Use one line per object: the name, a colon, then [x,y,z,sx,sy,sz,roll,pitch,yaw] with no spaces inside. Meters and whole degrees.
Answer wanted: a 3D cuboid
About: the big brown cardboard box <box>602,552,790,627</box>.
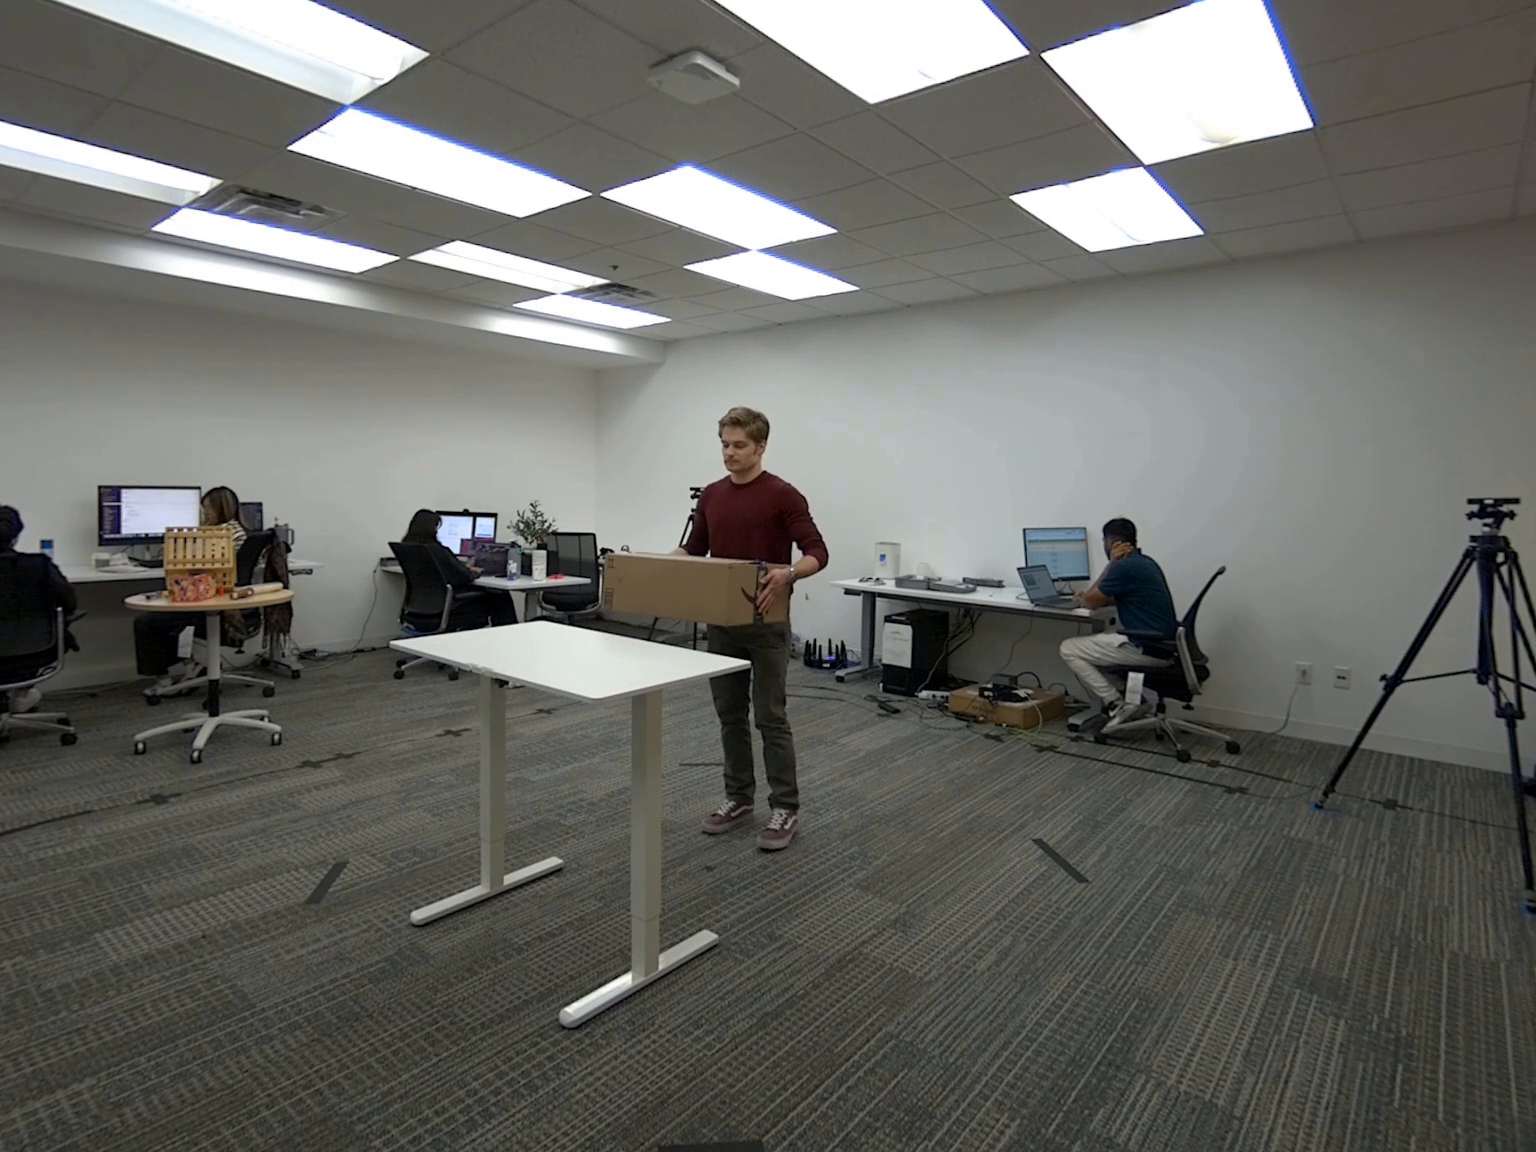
big brown cardboard box: [-0.267,0.038,3.195,0.607,0.233,0.405,5,2,32]
